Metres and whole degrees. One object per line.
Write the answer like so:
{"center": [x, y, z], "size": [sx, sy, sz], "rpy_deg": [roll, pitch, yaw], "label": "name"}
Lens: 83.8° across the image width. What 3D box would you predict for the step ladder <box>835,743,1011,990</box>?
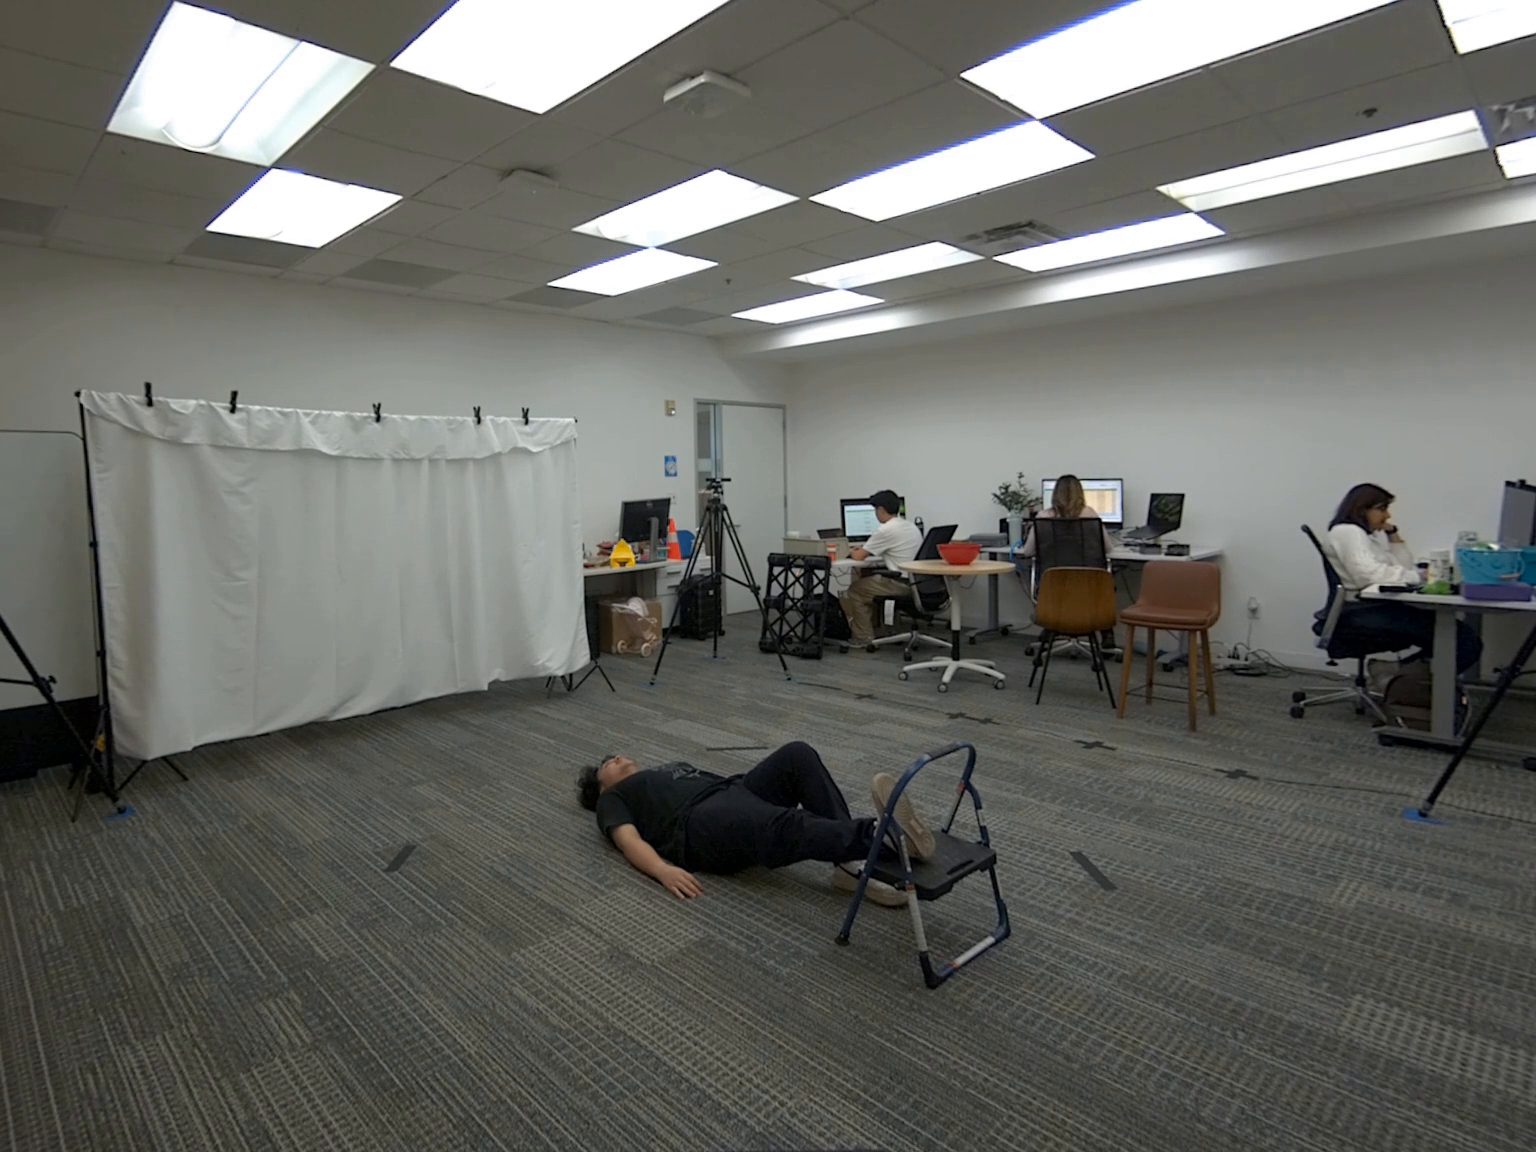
{"center": [0.475, 0.798, 2.557], "size": [0.419, 0.603, 0.360], "rpy_deg": [-6, 7, -44], "label": "step ladder"}
